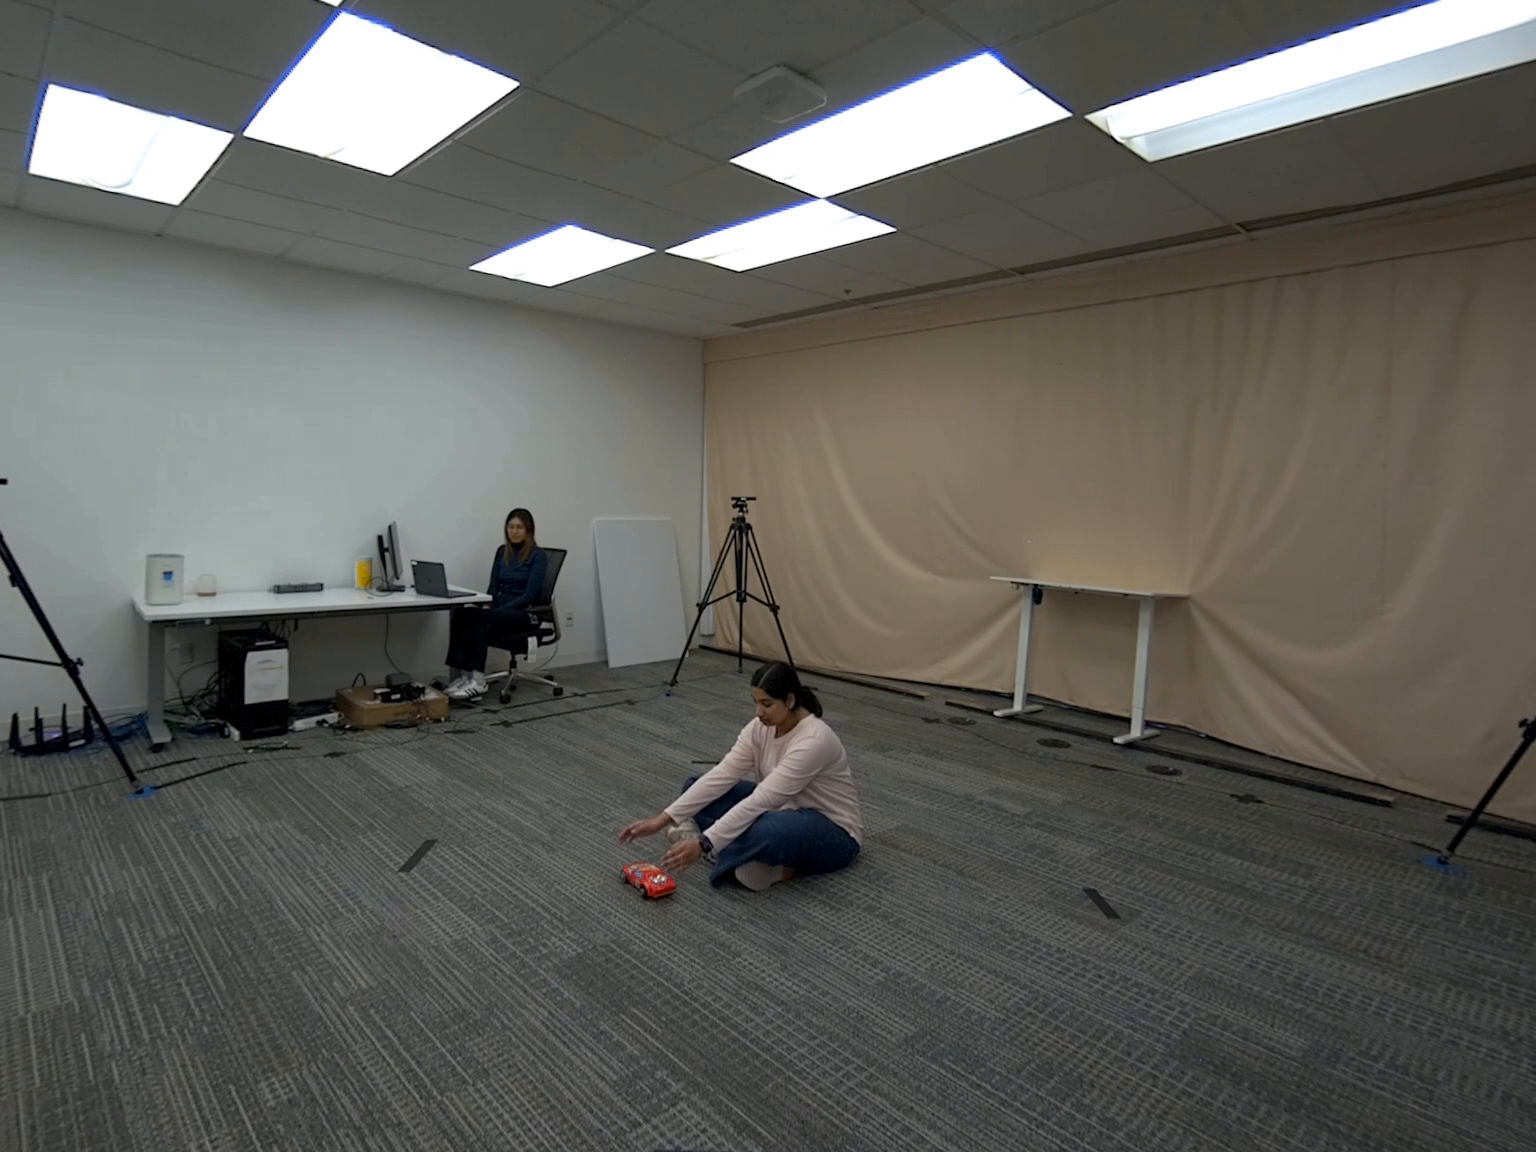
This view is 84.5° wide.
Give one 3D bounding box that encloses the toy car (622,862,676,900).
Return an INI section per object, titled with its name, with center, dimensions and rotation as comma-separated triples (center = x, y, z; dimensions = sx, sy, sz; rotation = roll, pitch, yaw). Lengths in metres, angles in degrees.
[toy car]
center = -0.423, 1.072, 2.982
dimensions = 0.127, 0.083, 0.259
rotation = -2, -4, -36
